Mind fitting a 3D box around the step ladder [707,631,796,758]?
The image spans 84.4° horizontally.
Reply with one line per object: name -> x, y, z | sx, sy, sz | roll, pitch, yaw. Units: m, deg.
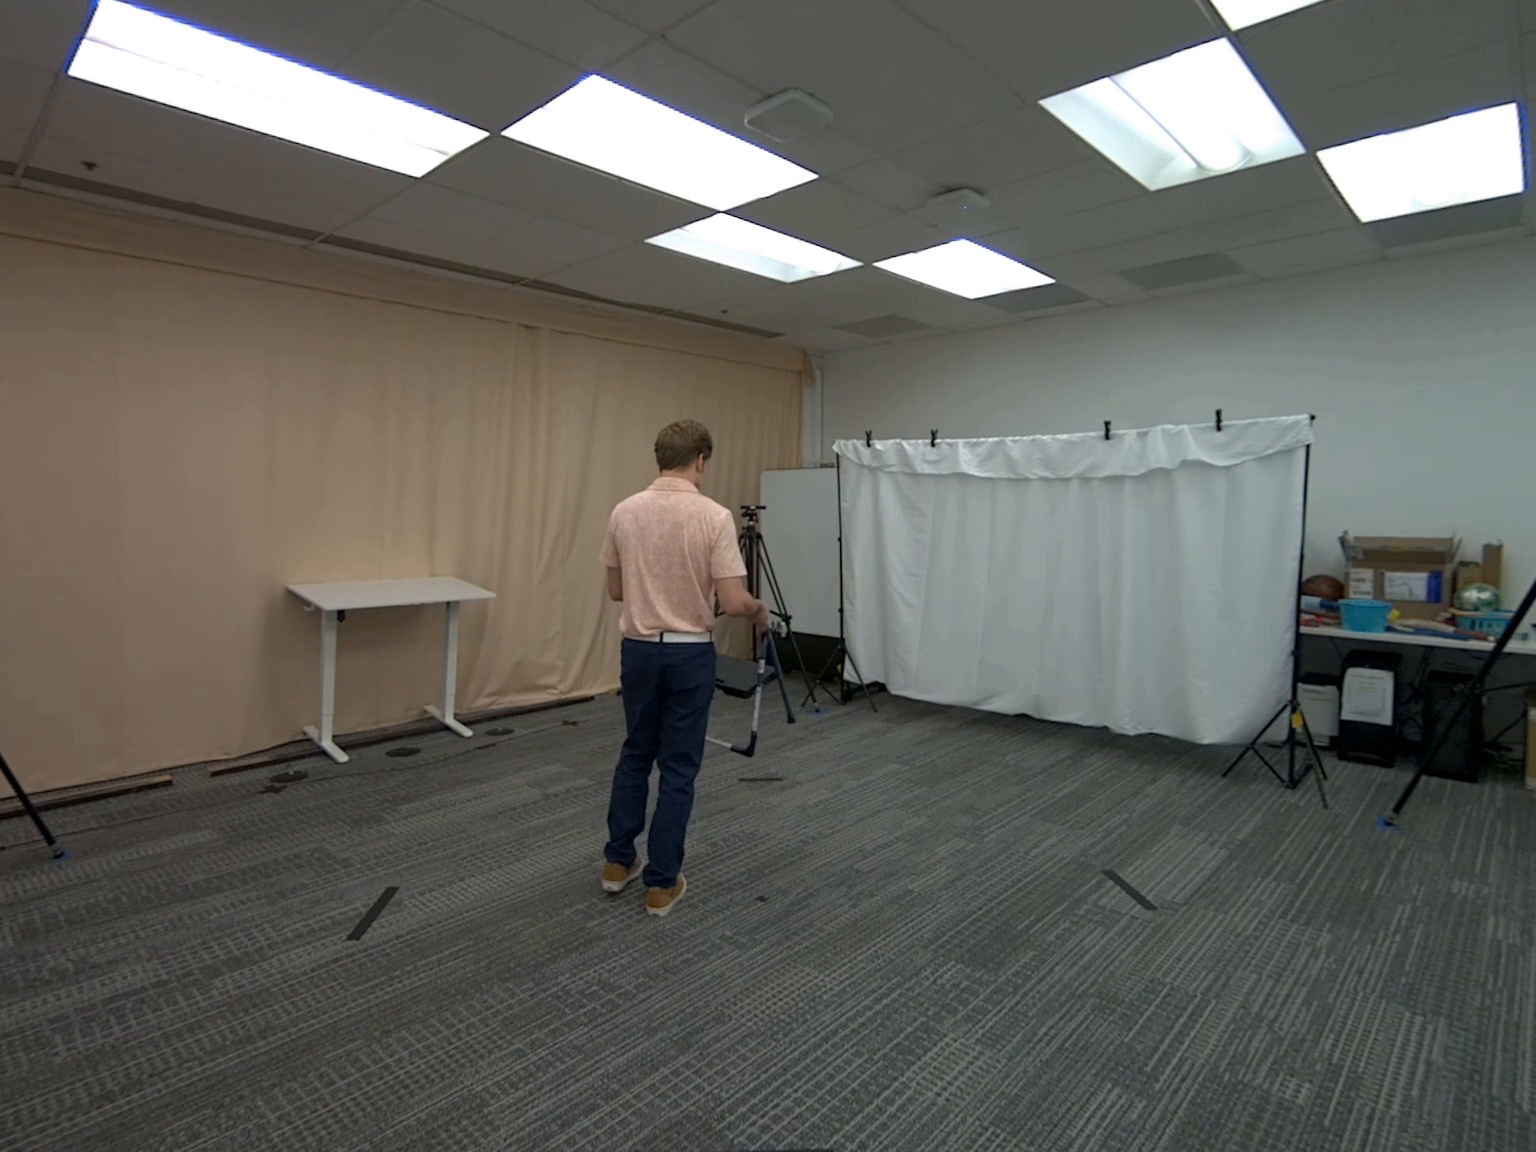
step ladder -> -0.155, 0.320, 3.301 | 0.444, 0.599, 0.342 | 11, 21, 30
